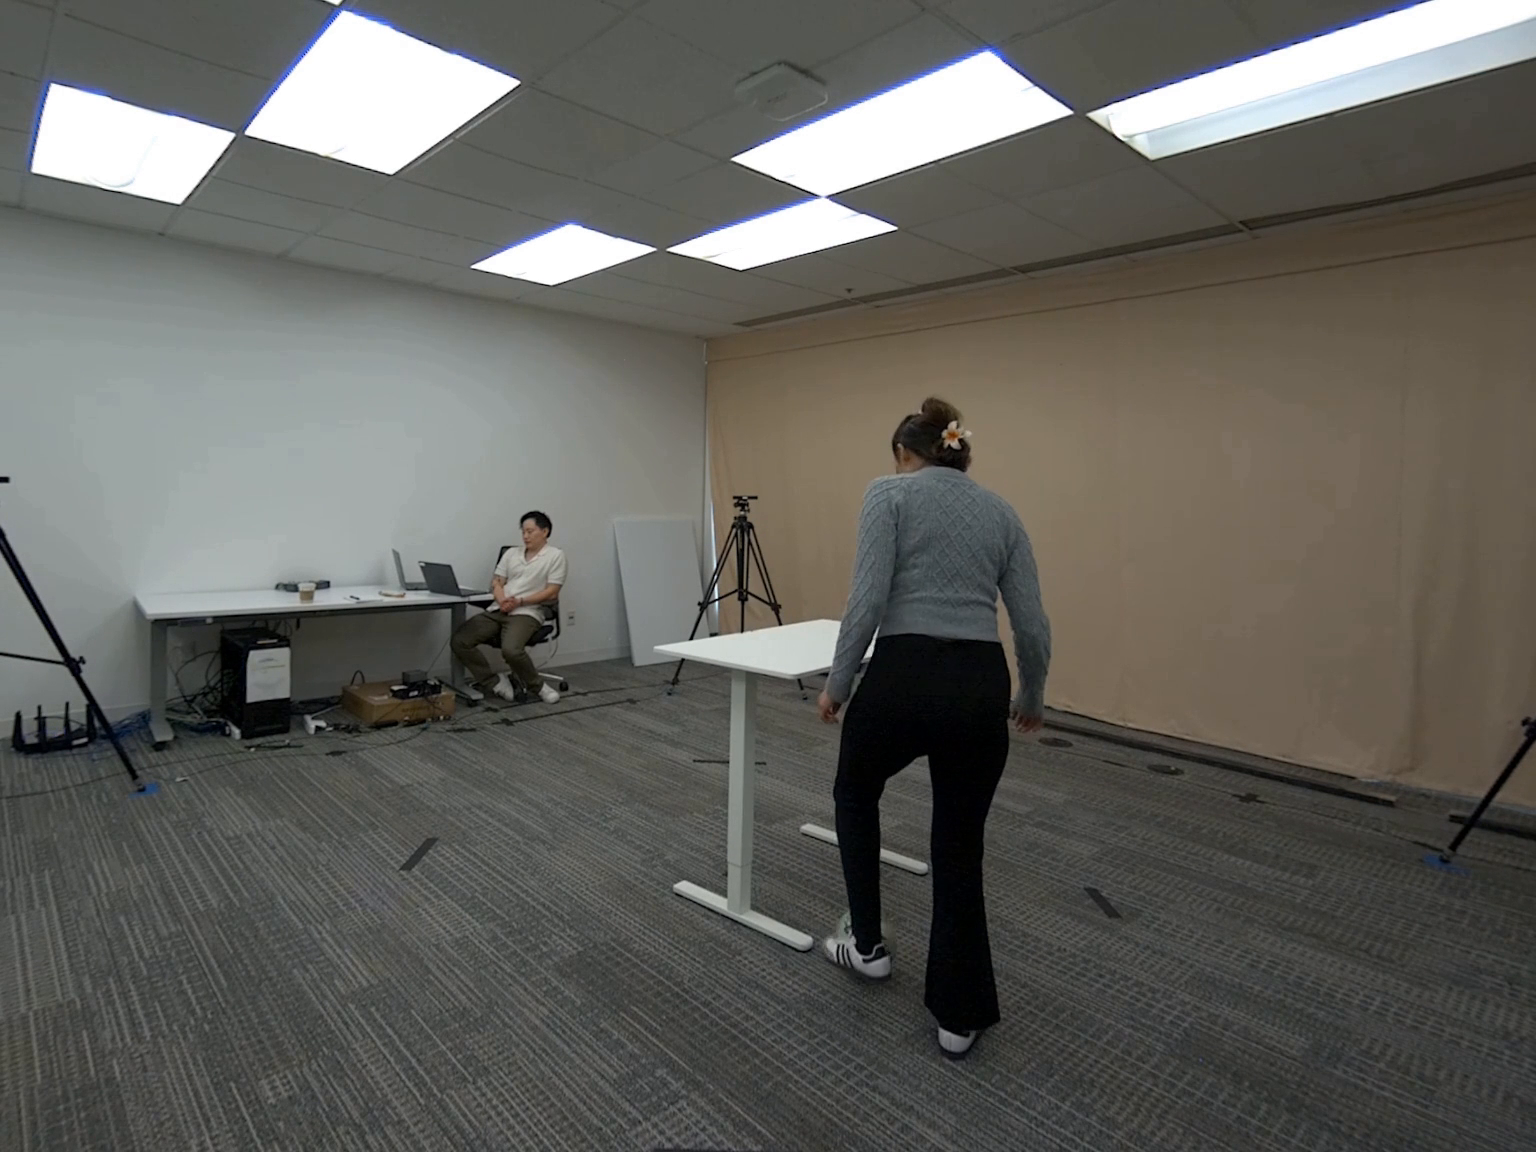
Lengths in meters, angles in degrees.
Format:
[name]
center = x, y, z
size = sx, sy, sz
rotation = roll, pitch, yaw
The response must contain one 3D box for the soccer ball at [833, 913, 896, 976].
[soccer ball]
center = 0.283, 1.081, 2.480
size = 0.187, 0.187, 0.188
rotation = 1, 4, -1
